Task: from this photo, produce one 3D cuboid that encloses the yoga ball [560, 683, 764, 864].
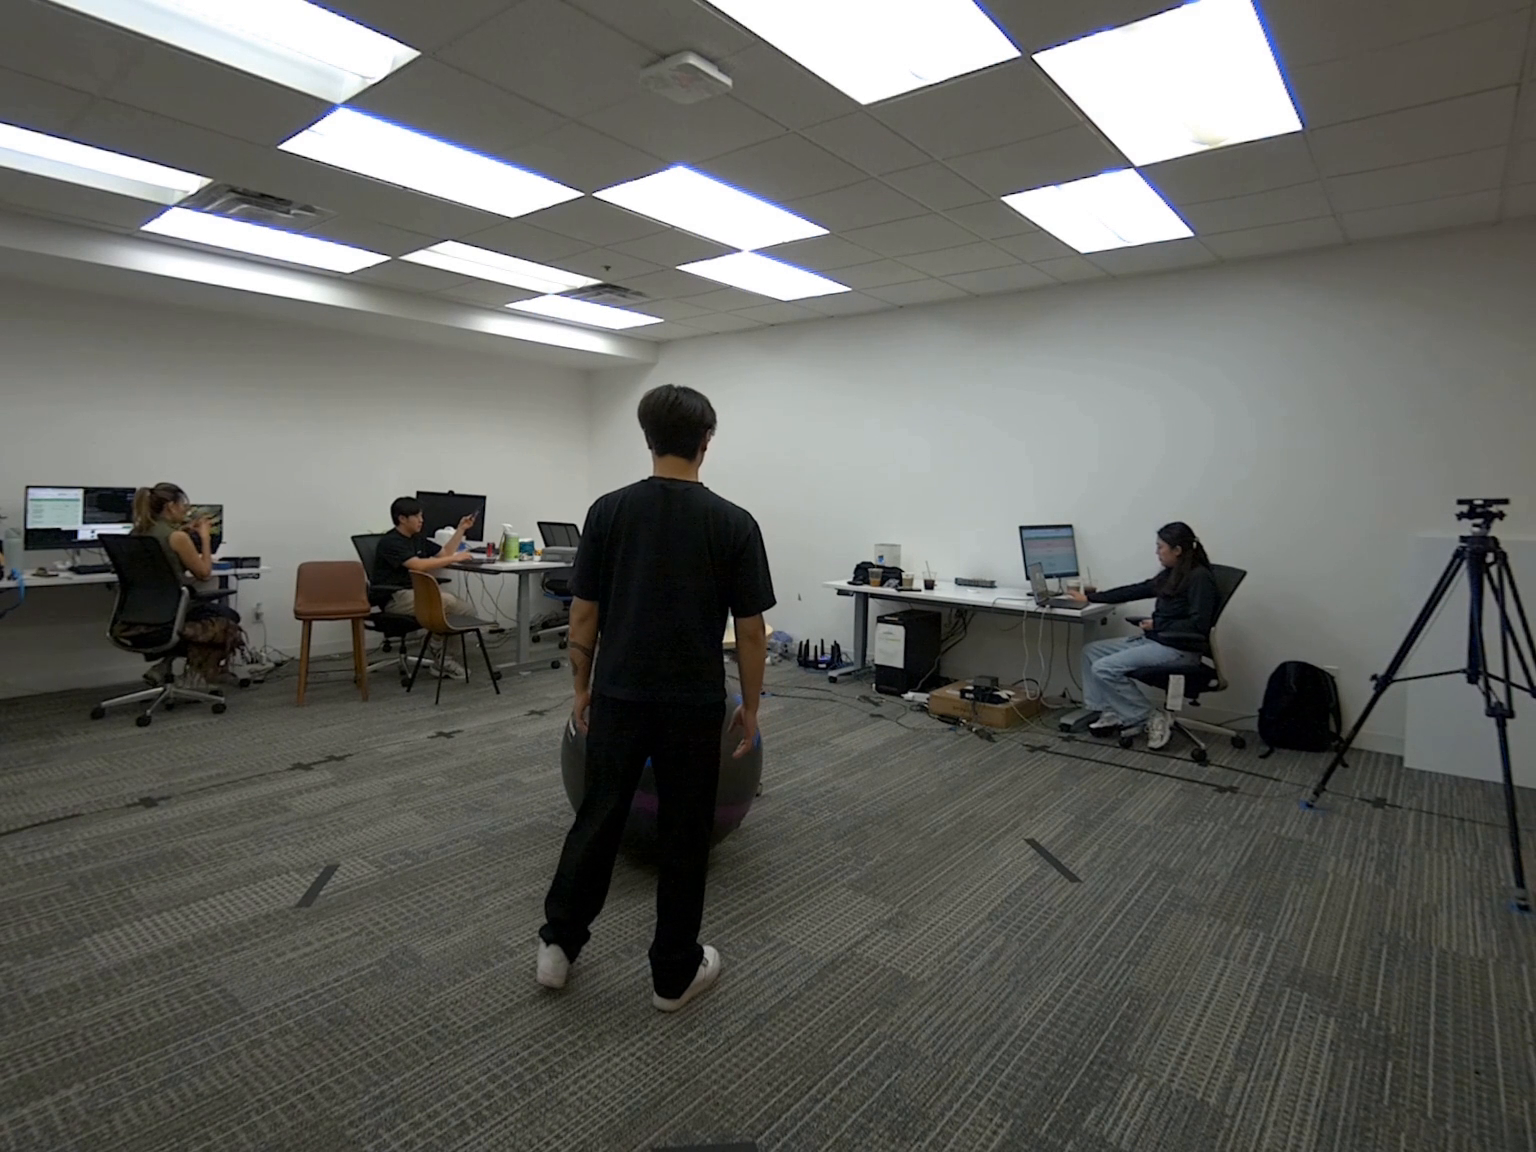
[{"bbox_3d":[-0.410,0.684,3.228,0.757,0.755,0.762,1,4,-2],"label":"yoga ball"}]
